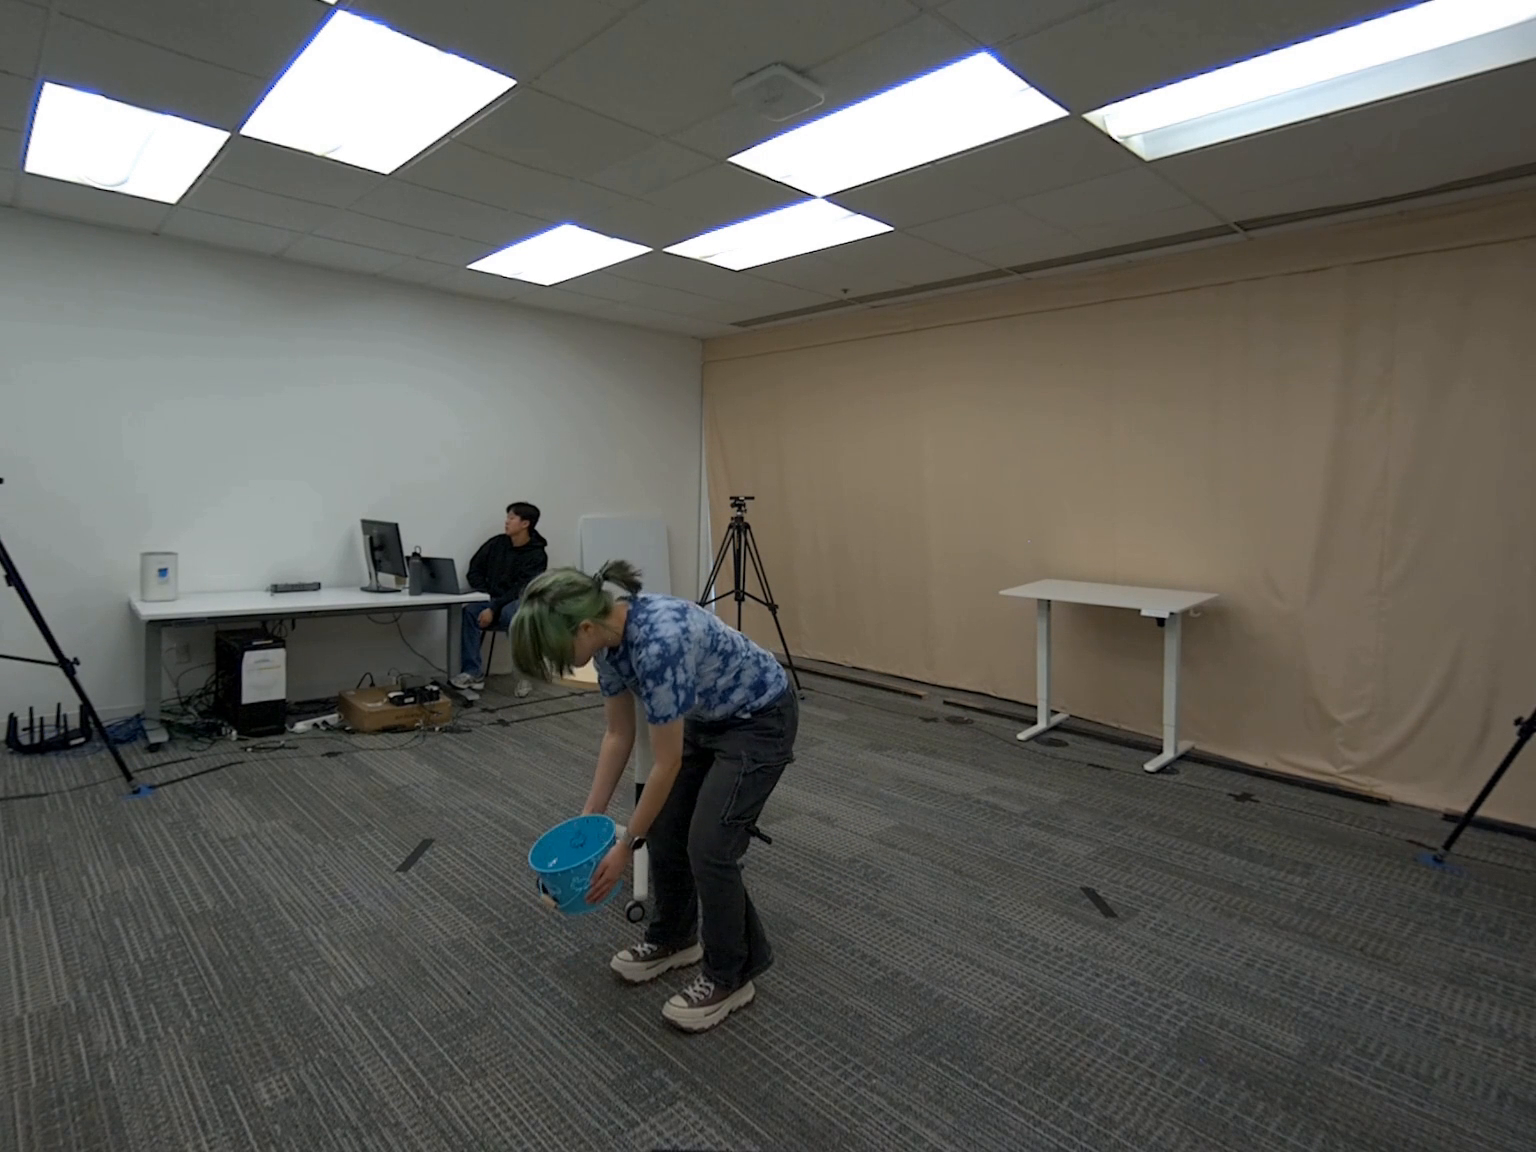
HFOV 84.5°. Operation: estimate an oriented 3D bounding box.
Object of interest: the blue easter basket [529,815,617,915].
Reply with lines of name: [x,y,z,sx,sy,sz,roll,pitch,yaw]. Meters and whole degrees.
blue easter basket: [-0.499,0.756,2.207,0.244,0.154,0.246,-12,16,2]
